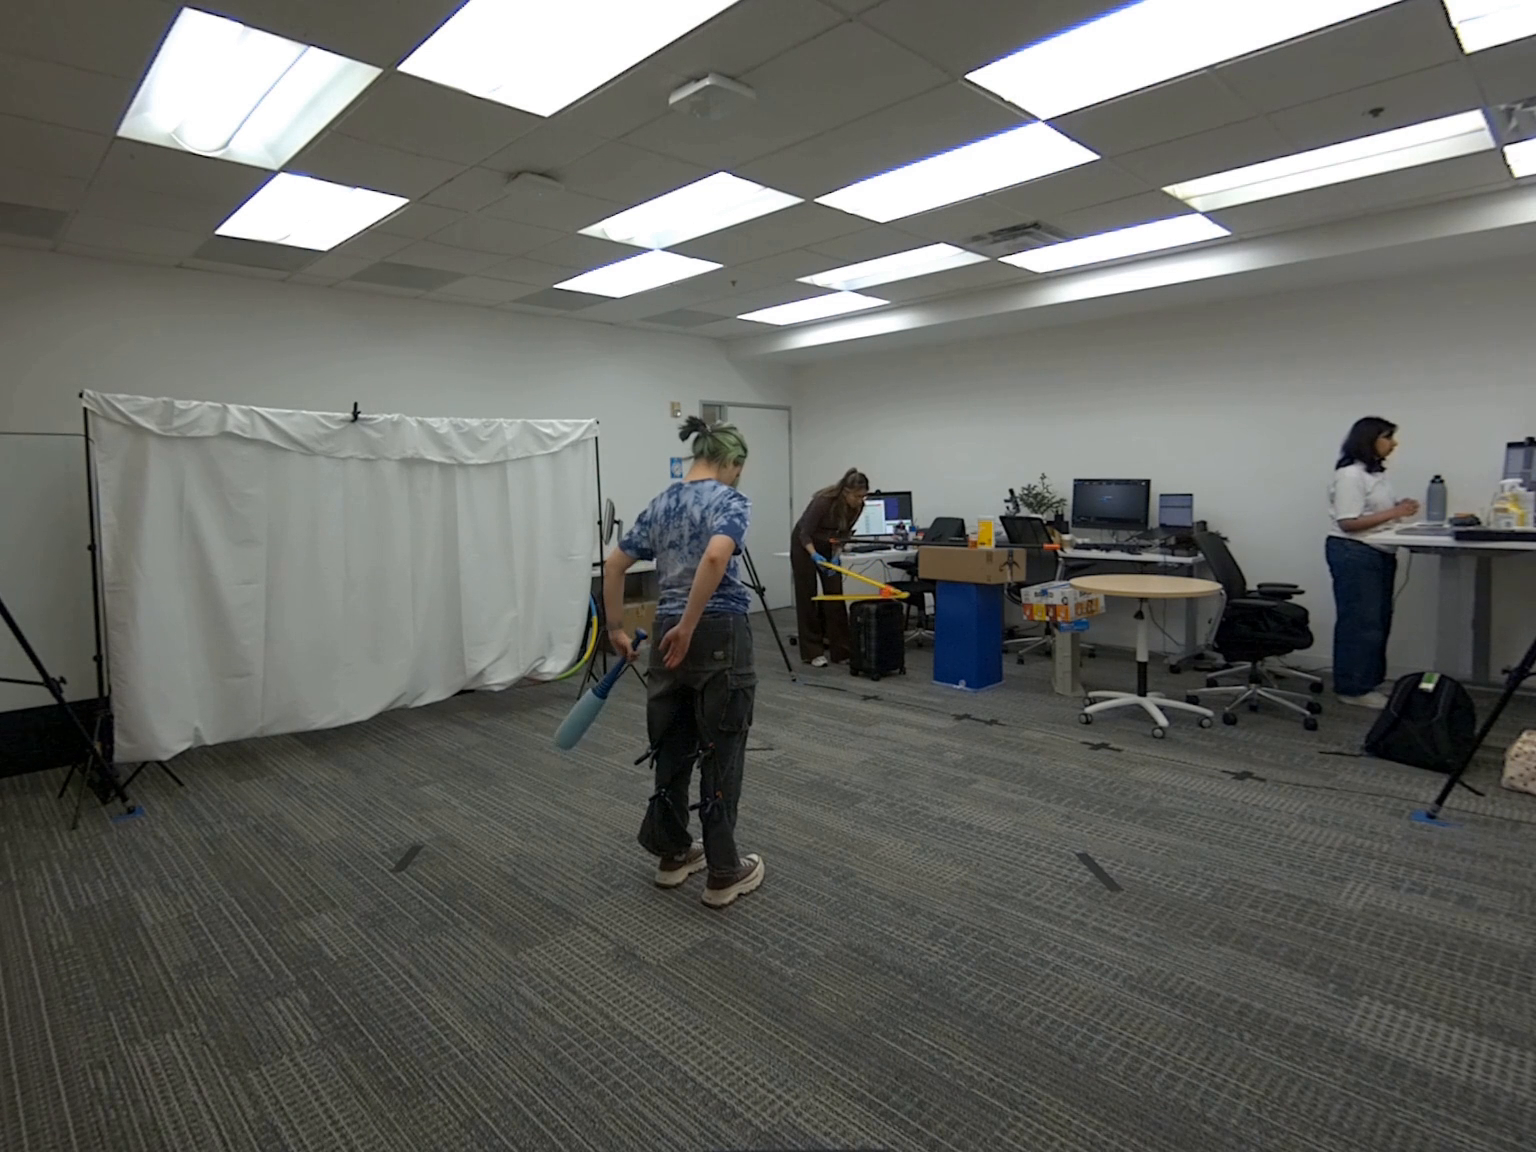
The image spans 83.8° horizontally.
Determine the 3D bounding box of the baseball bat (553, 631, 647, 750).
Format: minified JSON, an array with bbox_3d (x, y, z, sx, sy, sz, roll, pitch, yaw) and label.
[{"bbox_3d":[-0.572,0.406,3.046,0.088,0.541,0.090,33,14,-11],"label":"baseball bat"}]
